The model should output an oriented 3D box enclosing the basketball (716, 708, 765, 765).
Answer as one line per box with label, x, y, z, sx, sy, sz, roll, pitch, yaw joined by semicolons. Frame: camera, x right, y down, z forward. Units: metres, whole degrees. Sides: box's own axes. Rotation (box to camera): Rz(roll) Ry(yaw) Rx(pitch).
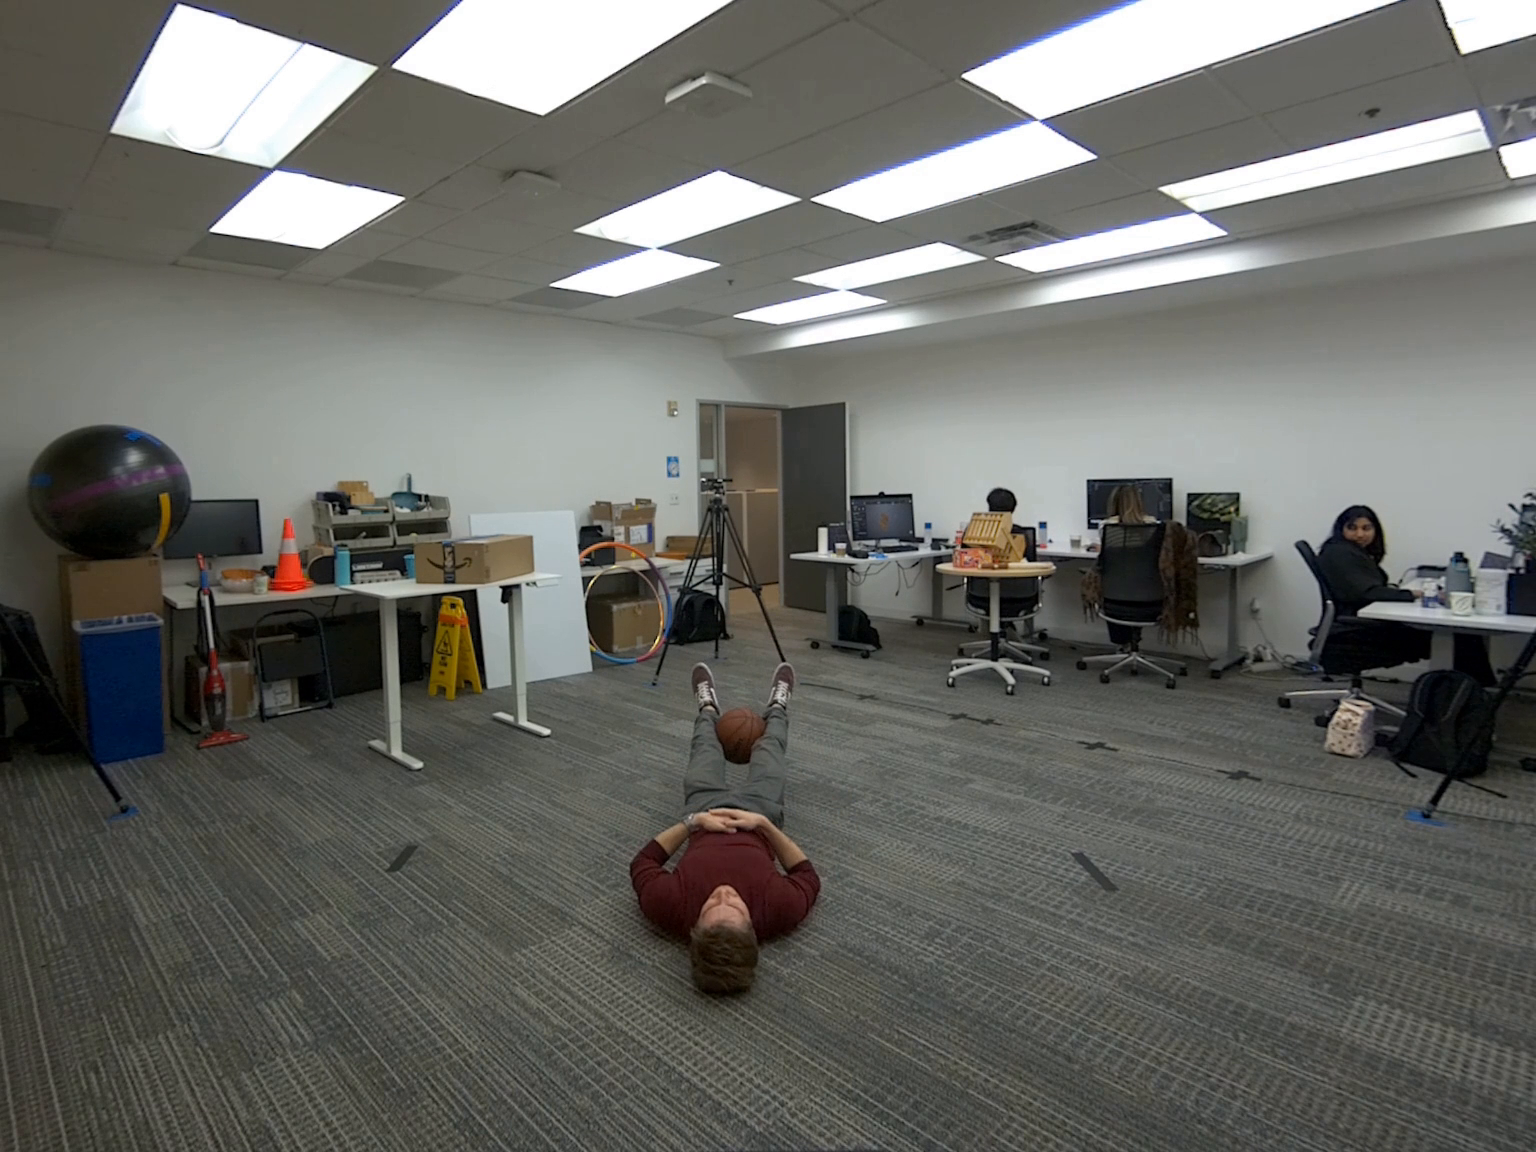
basketball;-0.119;0.684;3.694;0.236;0.235;0.237;-1;5;-2
